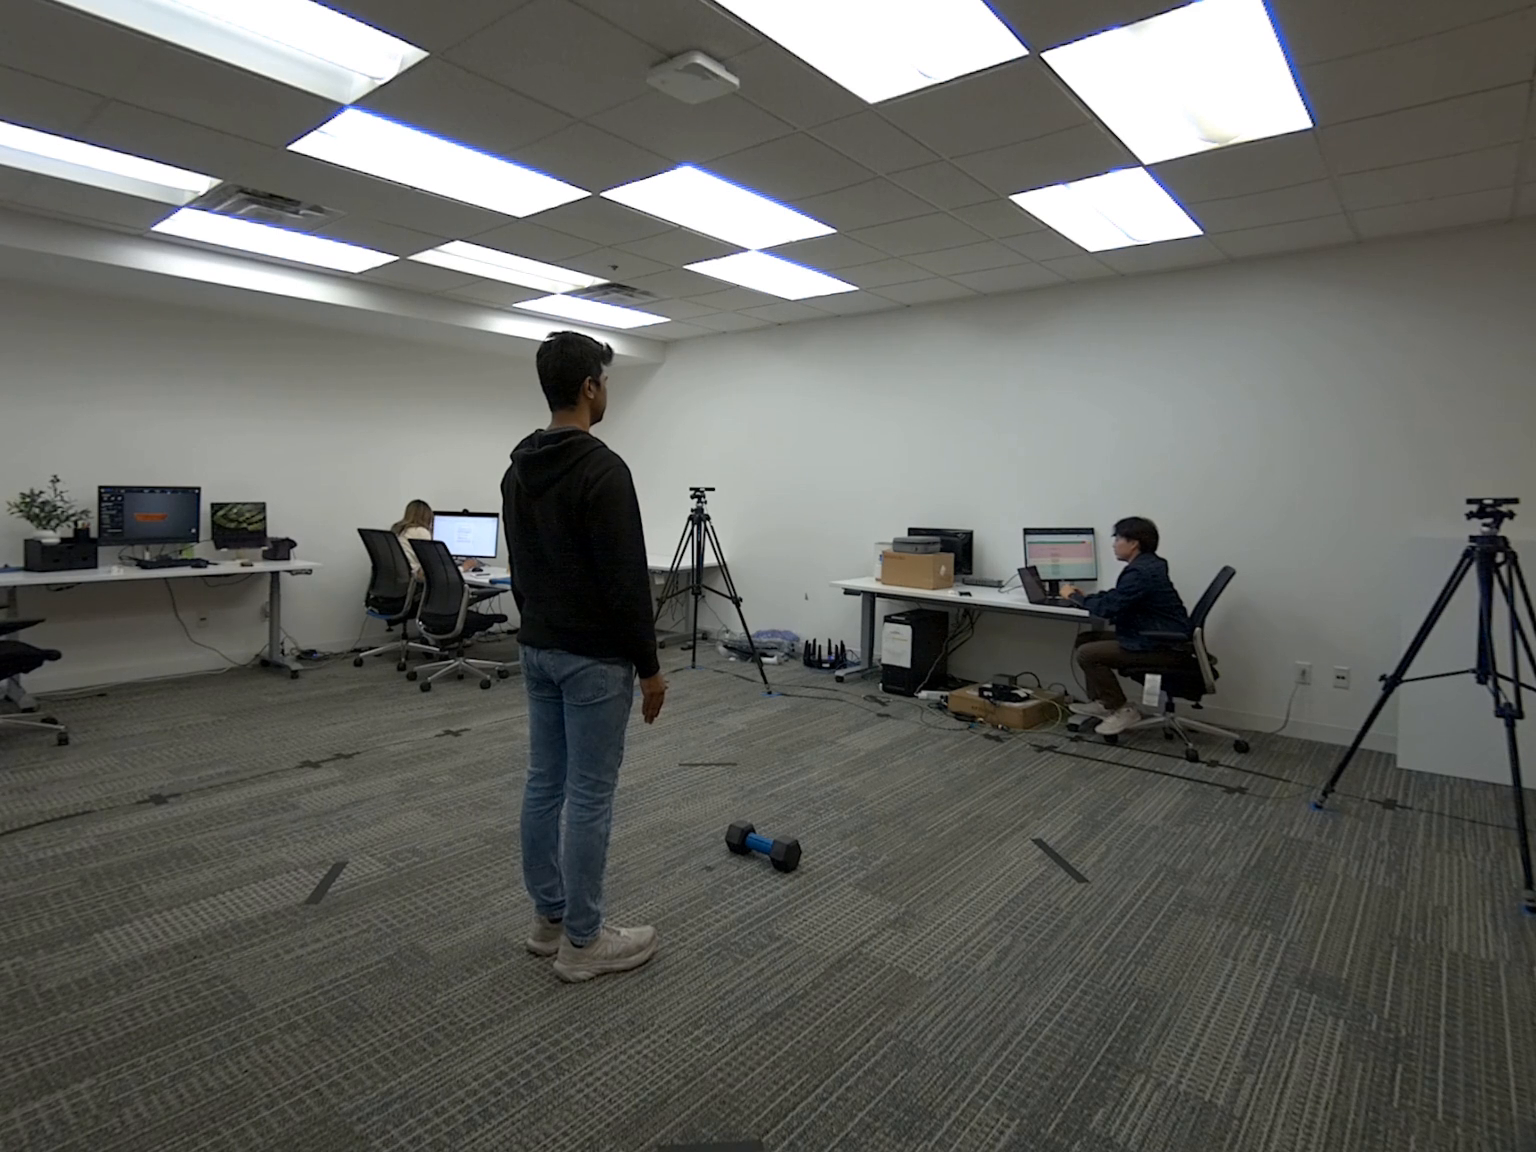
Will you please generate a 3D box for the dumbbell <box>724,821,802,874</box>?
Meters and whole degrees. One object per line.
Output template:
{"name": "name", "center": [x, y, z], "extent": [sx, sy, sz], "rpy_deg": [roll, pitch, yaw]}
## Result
{"name": "dumbbell", "center": [-0.031, 1.005, 3.193], "extent": [0.303, 0.119, 0.108], "rpy_deg": [4, 36, 39]}
